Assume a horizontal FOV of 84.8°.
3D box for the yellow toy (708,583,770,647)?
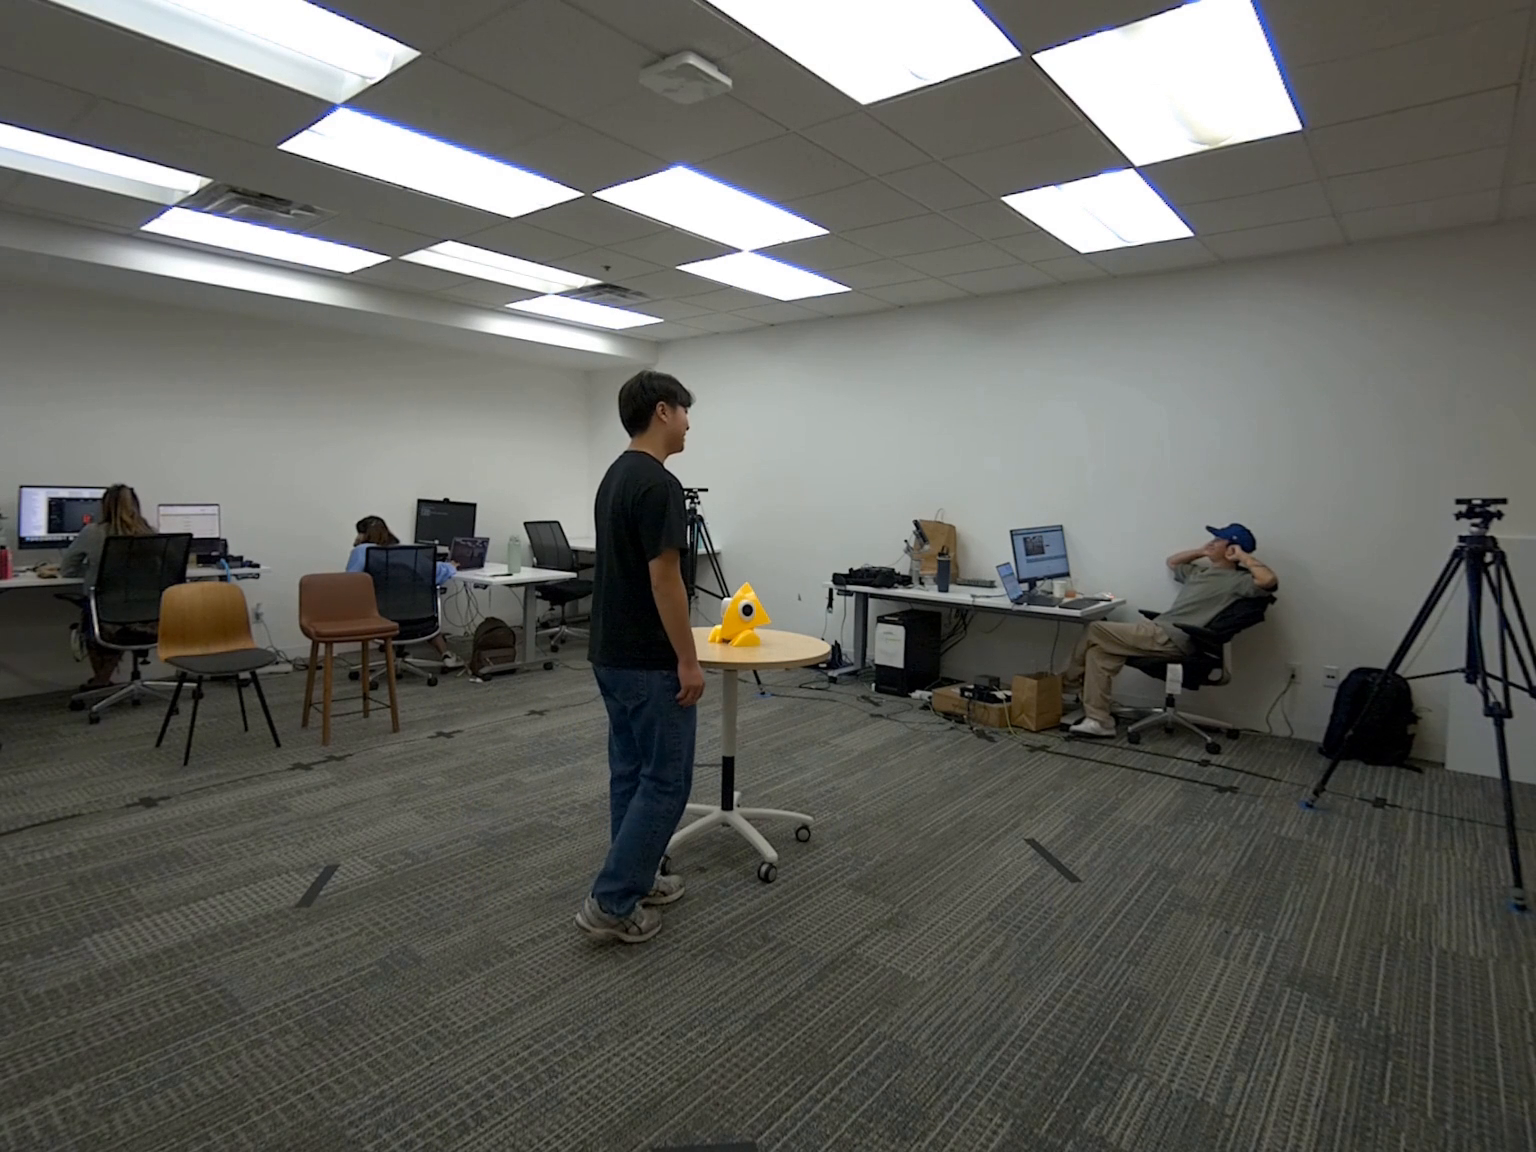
[{"bbox_3d":[-0.133,0.140,3.329,0.212,0.230,0.187,4,5,39],"label":"yellow toy"}]
